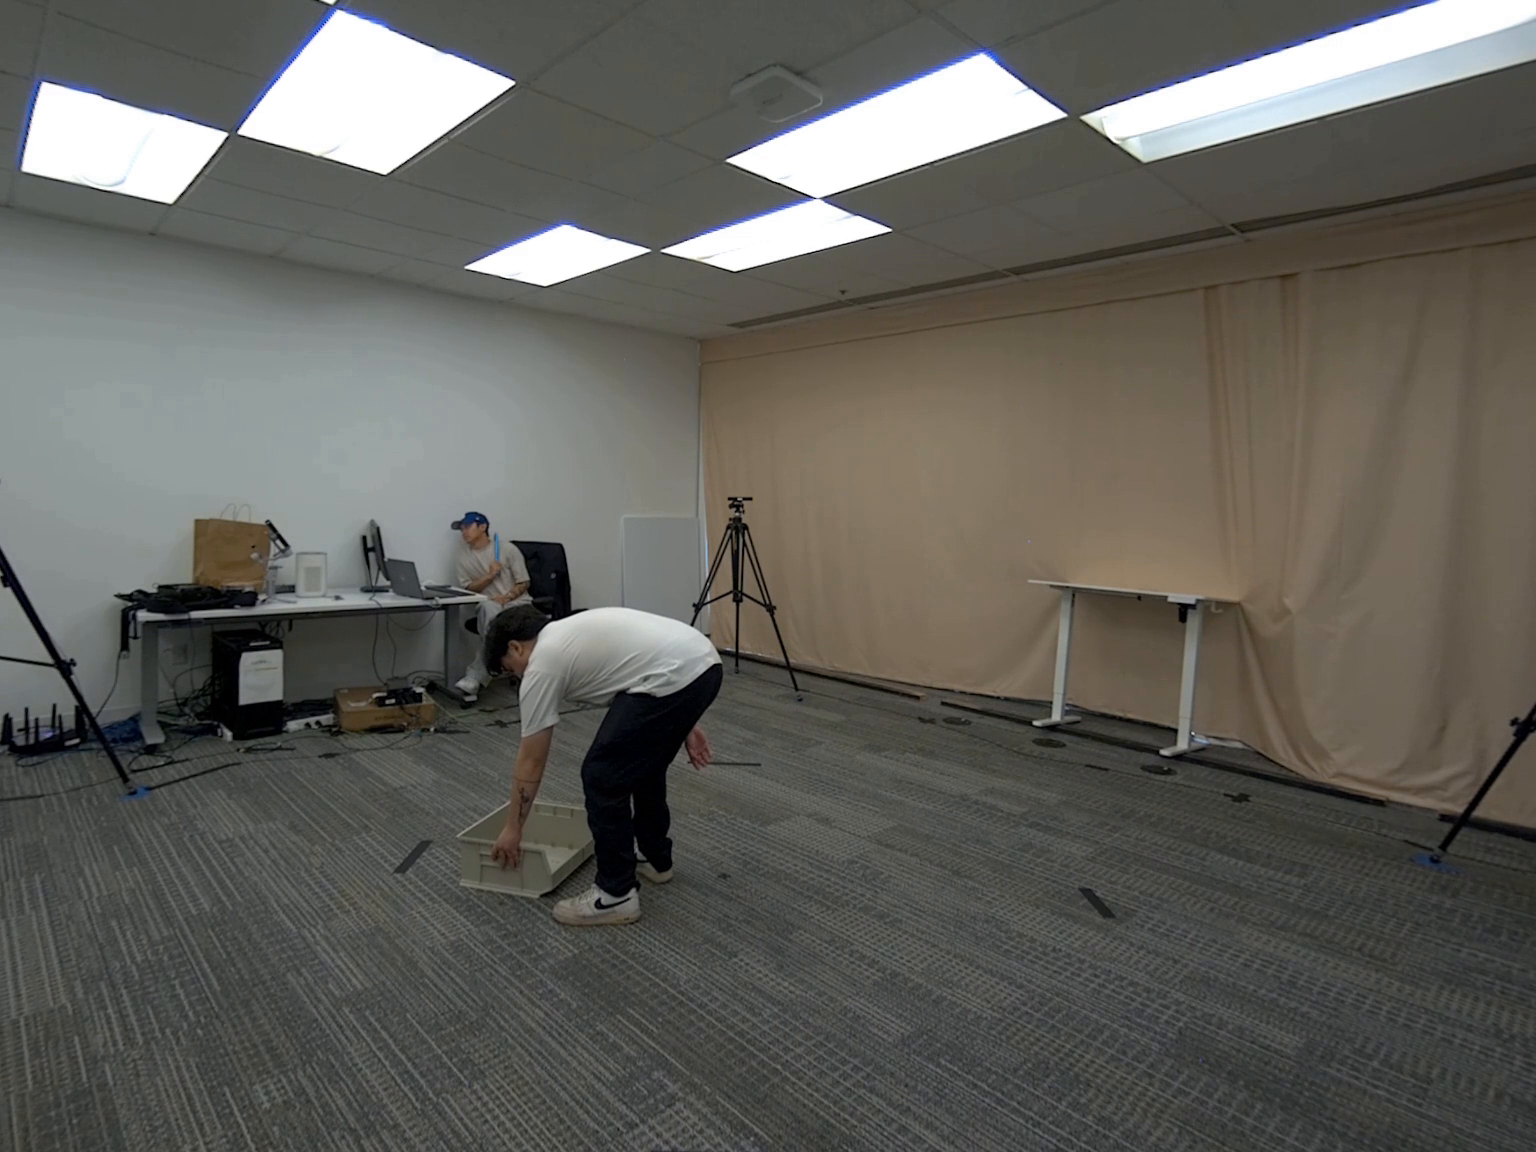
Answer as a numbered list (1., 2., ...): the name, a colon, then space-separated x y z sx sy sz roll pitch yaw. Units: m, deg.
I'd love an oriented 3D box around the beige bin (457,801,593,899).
1. beige bin: -0.879 1.000 3.126 0.382 0.188 0.418 2 6 15
